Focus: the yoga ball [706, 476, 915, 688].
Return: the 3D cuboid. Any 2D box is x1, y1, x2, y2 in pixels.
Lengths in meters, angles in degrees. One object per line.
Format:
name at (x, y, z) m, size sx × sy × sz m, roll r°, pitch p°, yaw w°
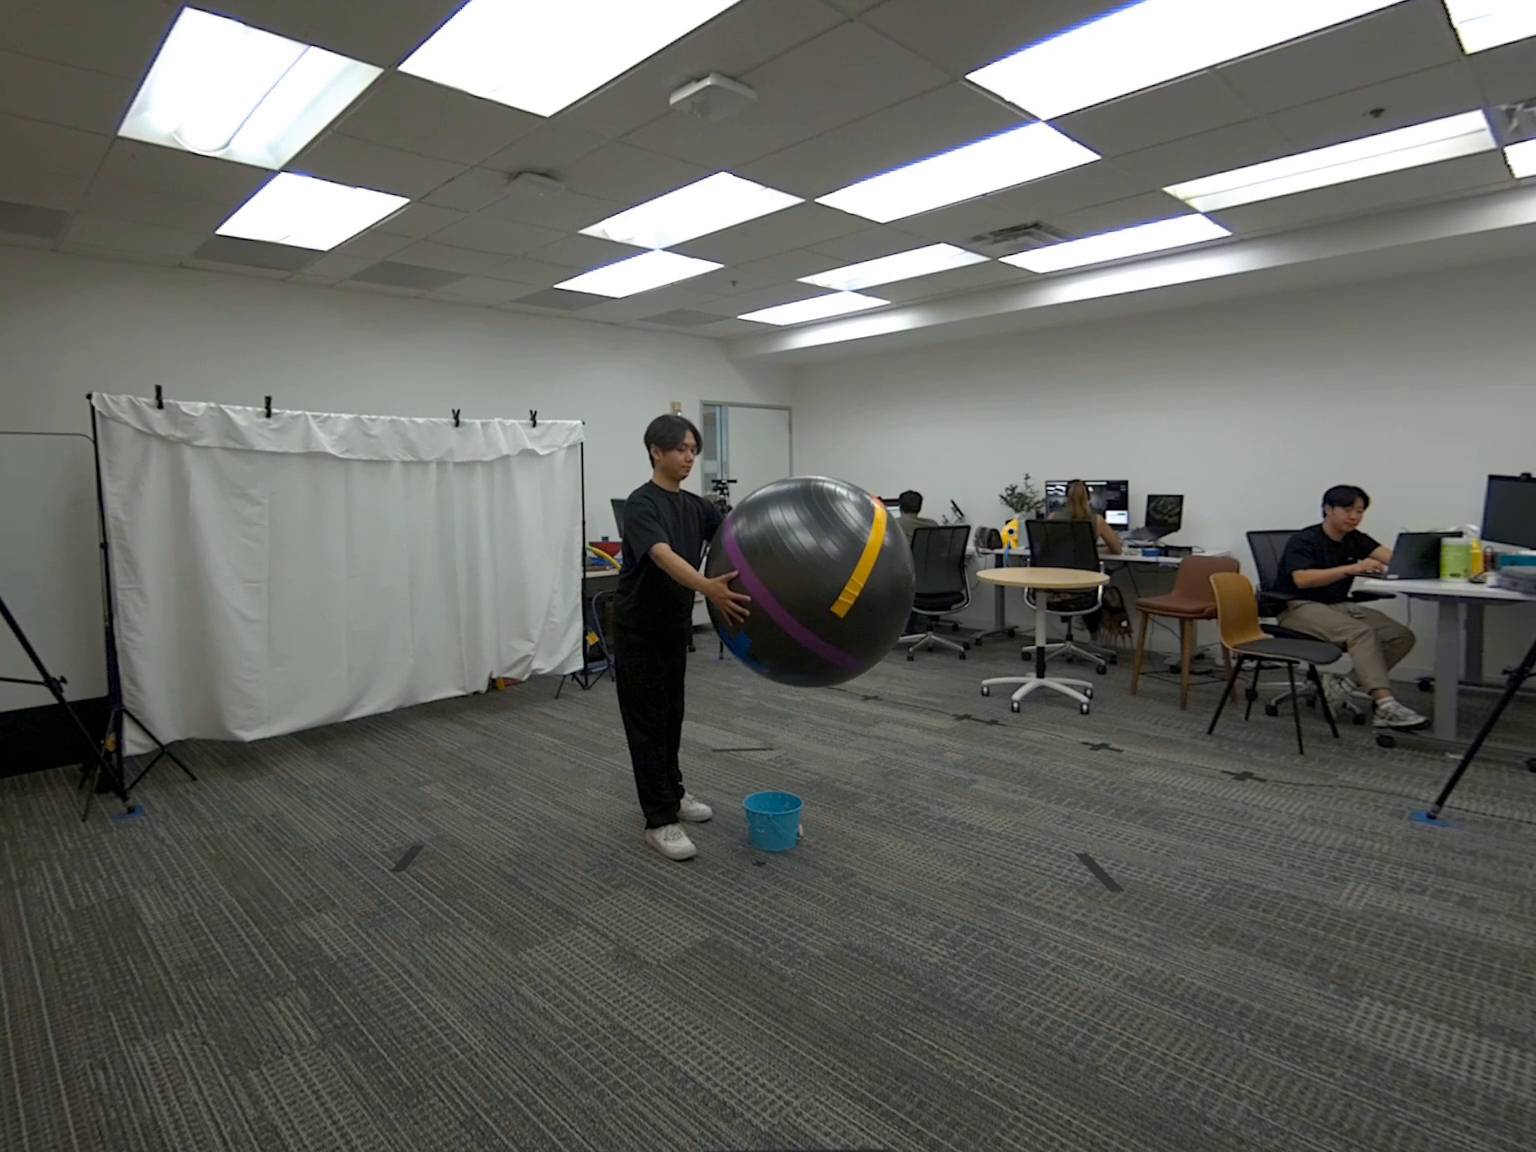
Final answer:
yoga ball at (0.148, 0.028, 3.076) m, size 0.757 × 0.755 × 0.762 m, roll -1°, pitch 5°, yaw -2°
